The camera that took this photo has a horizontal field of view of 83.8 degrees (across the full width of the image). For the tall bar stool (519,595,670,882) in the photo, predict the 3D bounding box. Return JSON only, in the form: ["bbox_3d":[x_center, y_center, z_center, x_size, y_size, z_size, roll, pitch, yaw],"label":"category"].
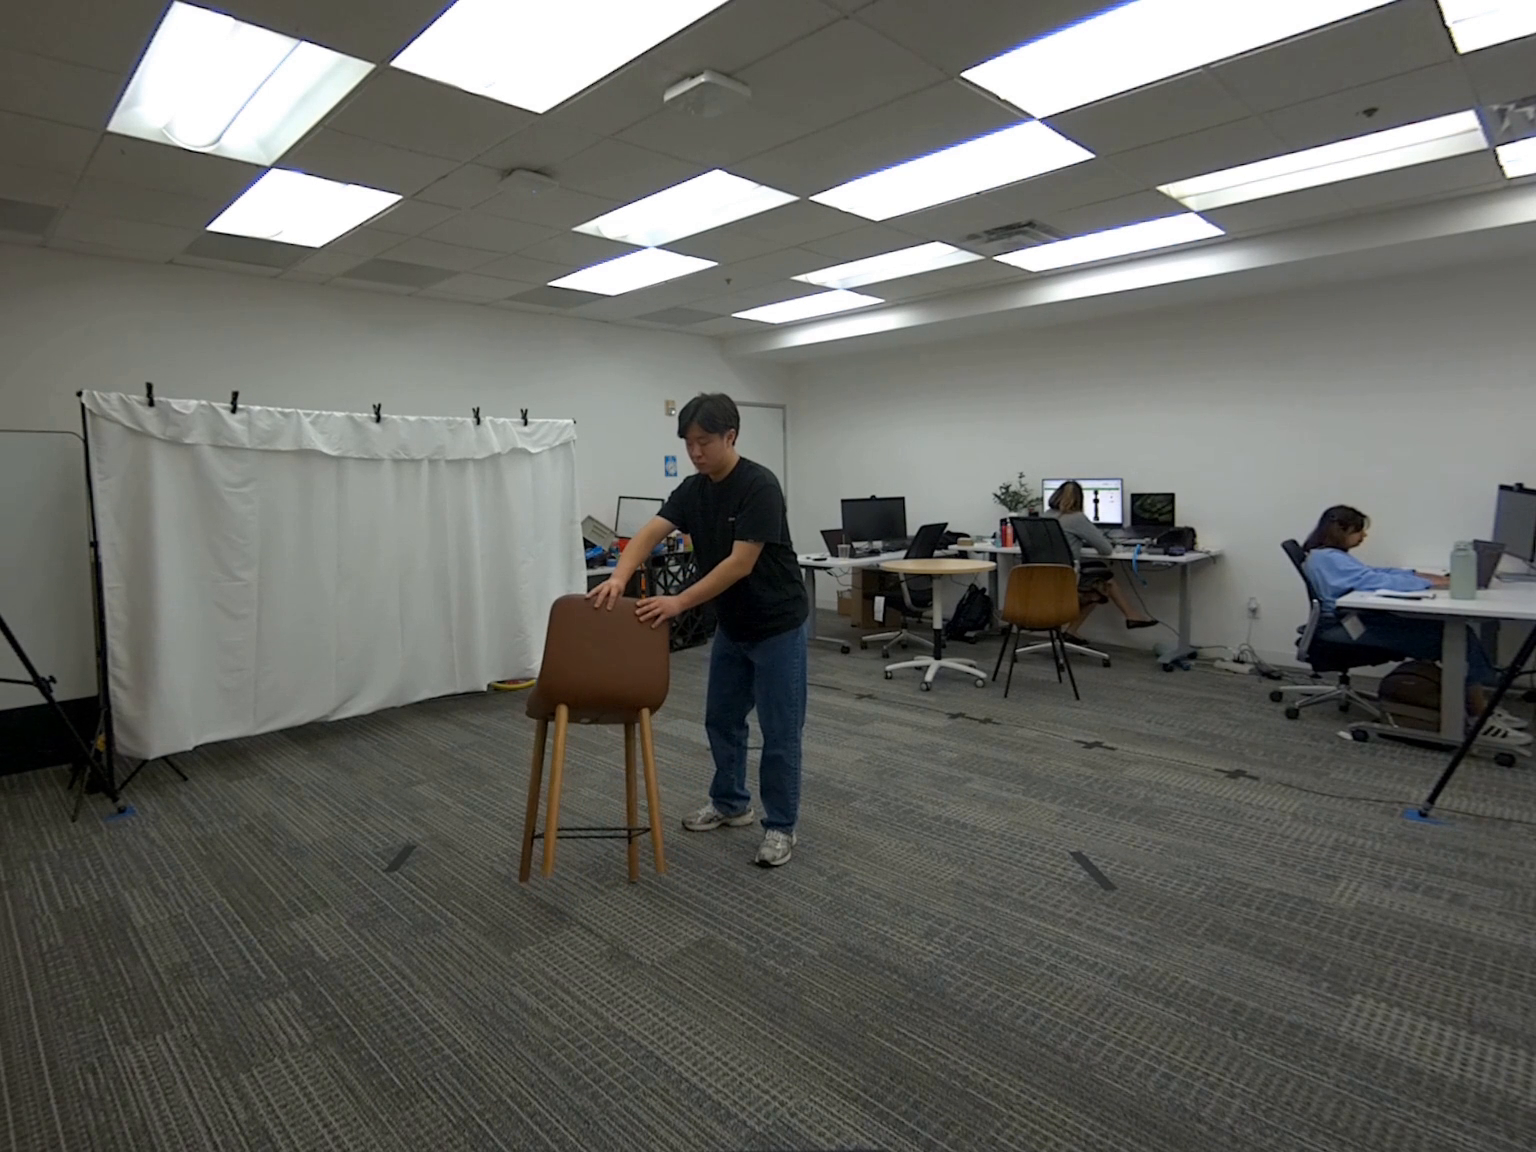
[{"bbox_3d":[-0.587,0.561,2.901,0.448,0.907,0.468,5,-22,-20],"label":"tall bar stool"}]
